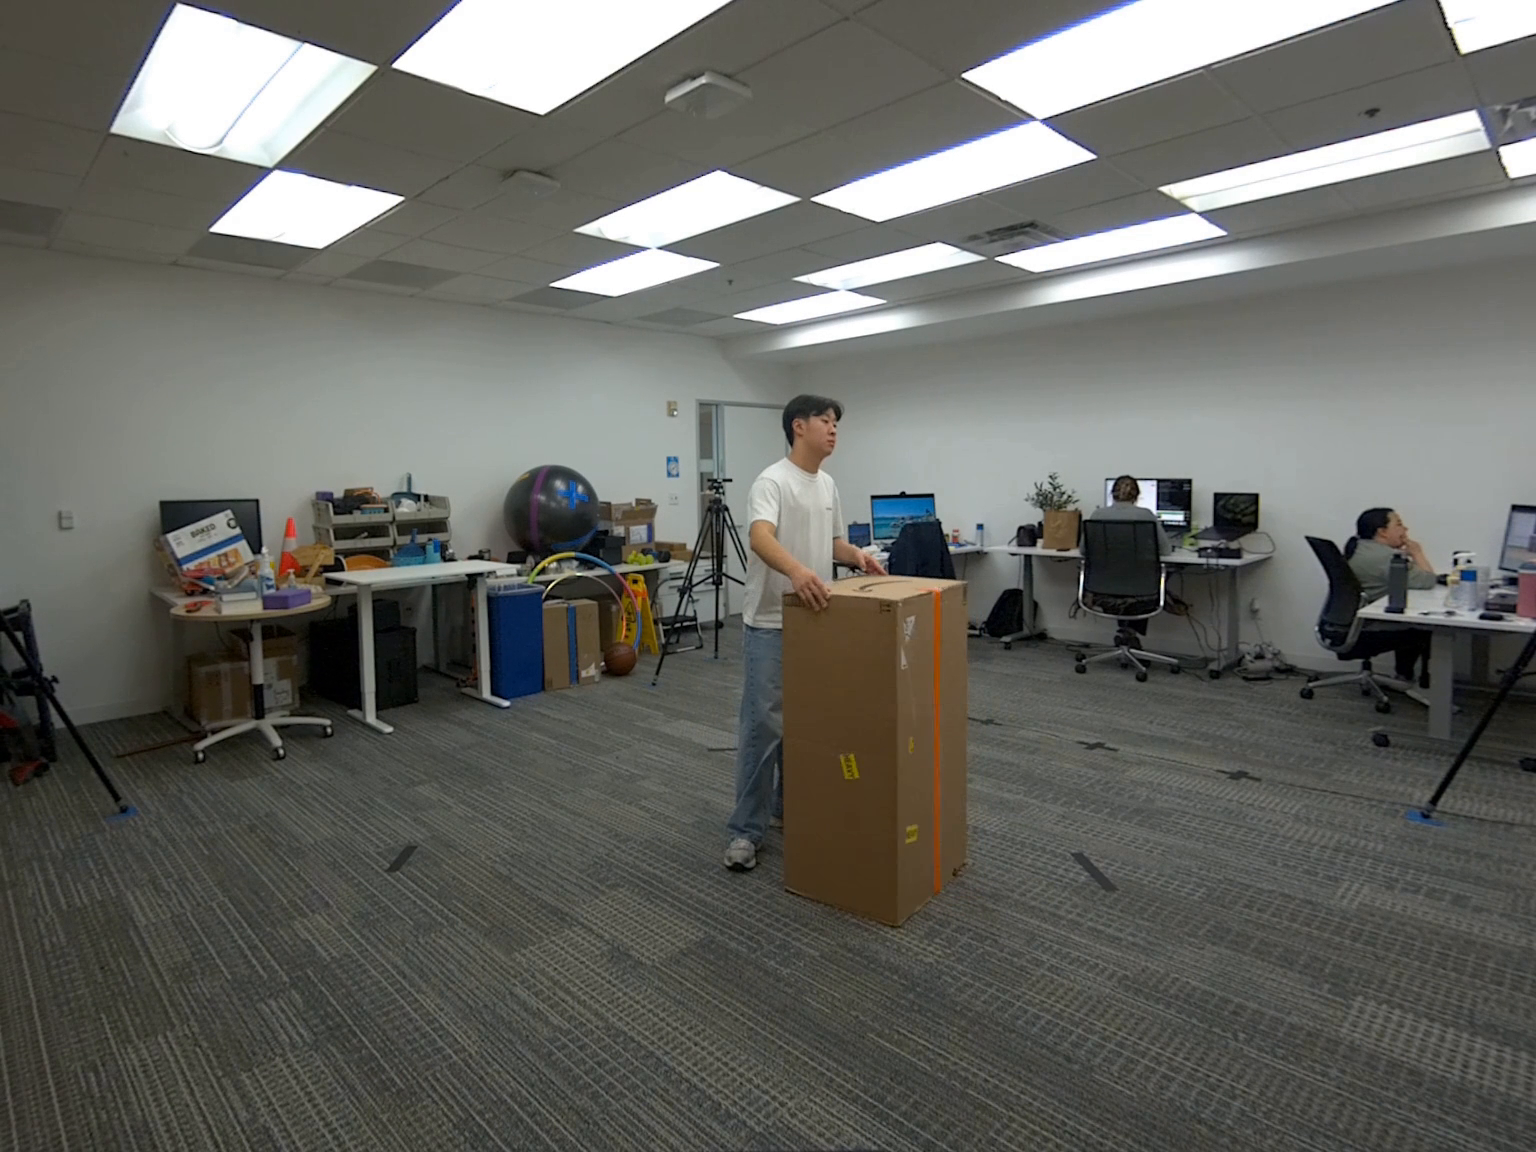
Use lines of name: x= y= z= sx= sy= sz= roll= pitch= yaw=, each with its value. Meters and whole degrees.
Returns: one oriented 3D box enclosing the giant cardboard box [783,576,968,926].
giant cardboard box: x=0.391 y=0.544 z=2.956 sx=0.438 sy=1.022 sz=0.563 roll=2 pitch=5 yaw=36
